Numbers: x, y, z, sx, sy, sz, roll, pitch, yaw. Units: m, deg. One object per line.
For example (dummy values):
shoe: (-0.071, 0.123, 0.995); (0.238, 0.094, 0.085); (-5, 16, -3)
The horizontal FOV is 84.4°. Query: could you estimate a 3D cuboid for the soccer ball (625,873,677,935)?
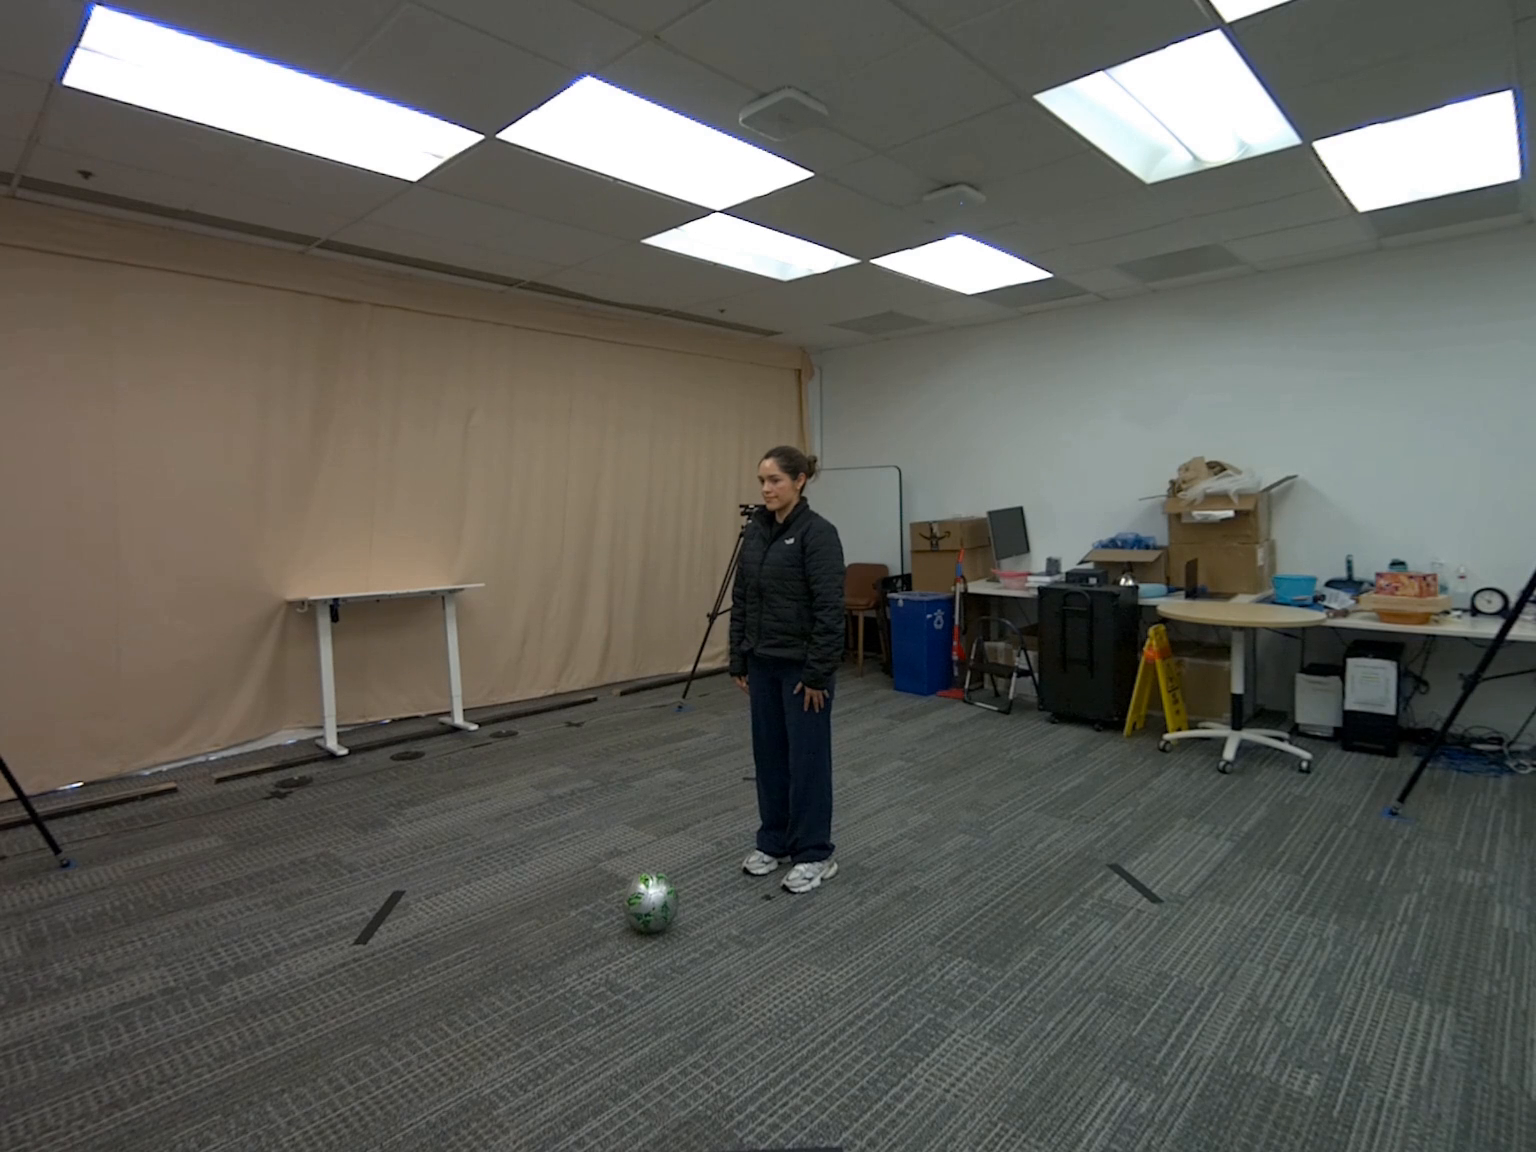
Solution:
soccer ball: (-0.386, 1.074, 2.770); (0.187, 0.187, 0.188); (-1, 4, -2)
